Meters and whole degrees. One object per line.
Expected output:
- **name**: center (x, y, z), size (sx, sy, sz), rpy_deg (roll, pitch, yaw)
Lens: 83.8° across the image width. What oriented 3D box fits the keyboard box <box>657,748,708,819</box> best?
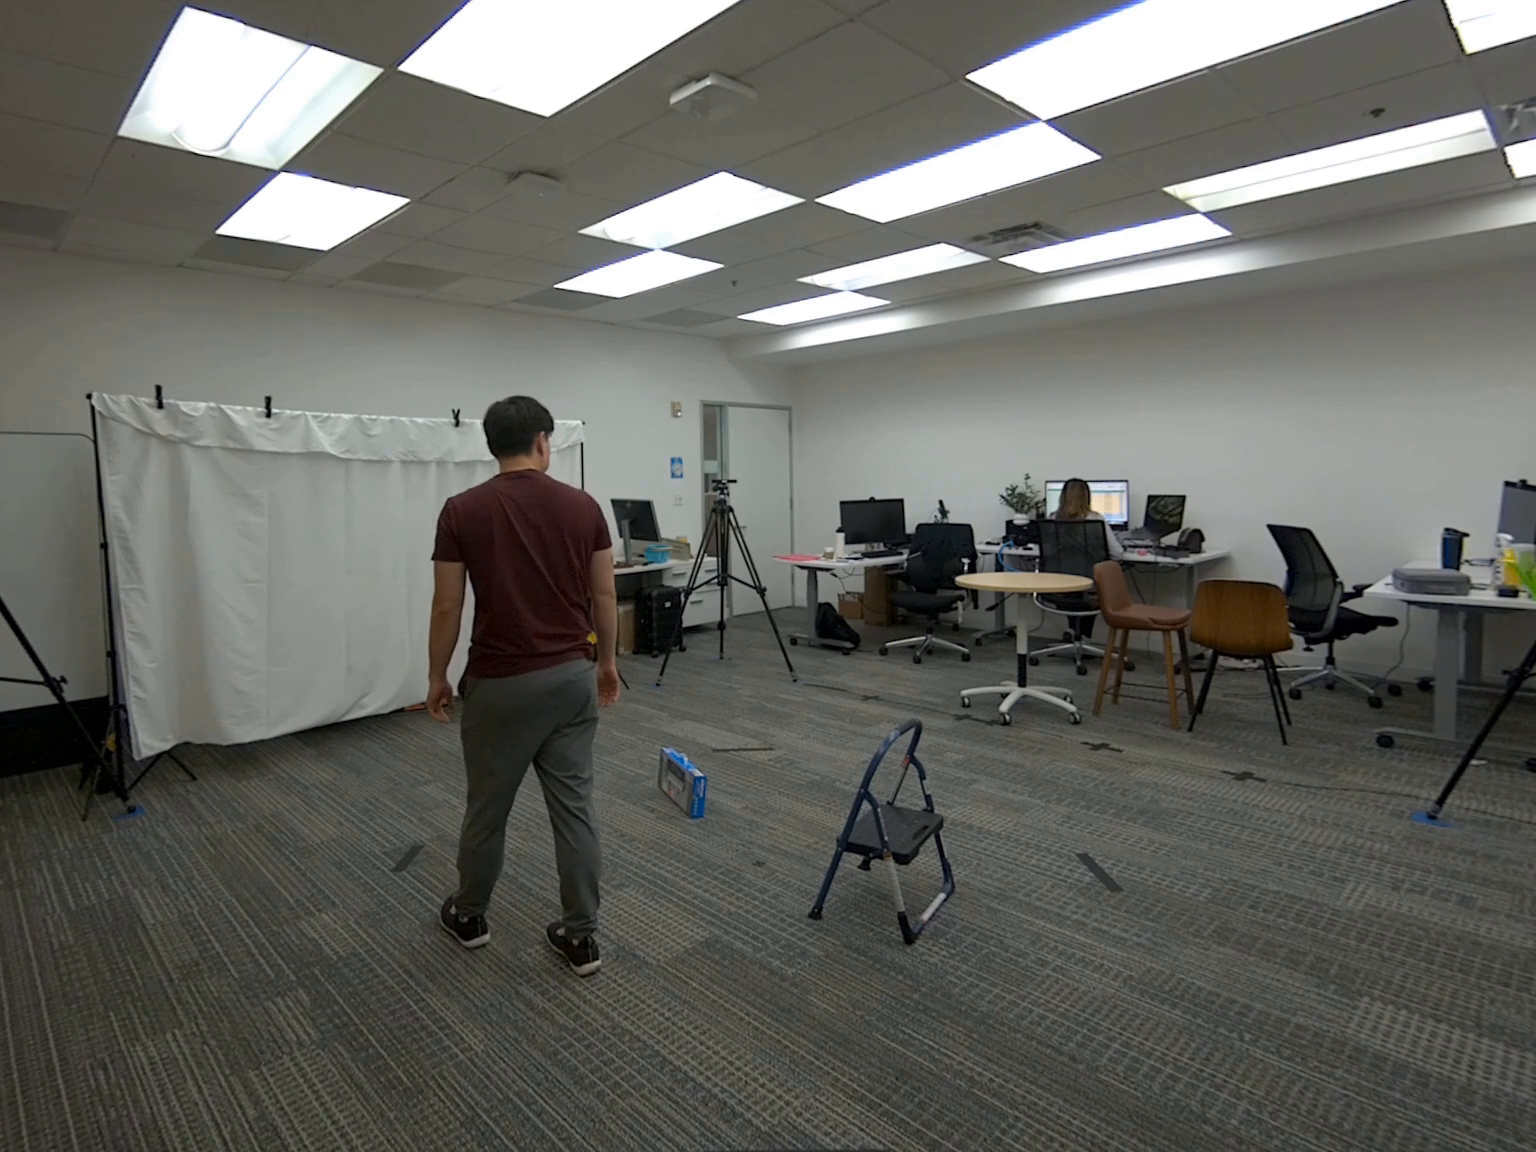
- **keyboard box**: center (-0.378, 0.897, 3.738), size (0.058, 0.176, 0.447), rpy_deg (5, 3, -25)
